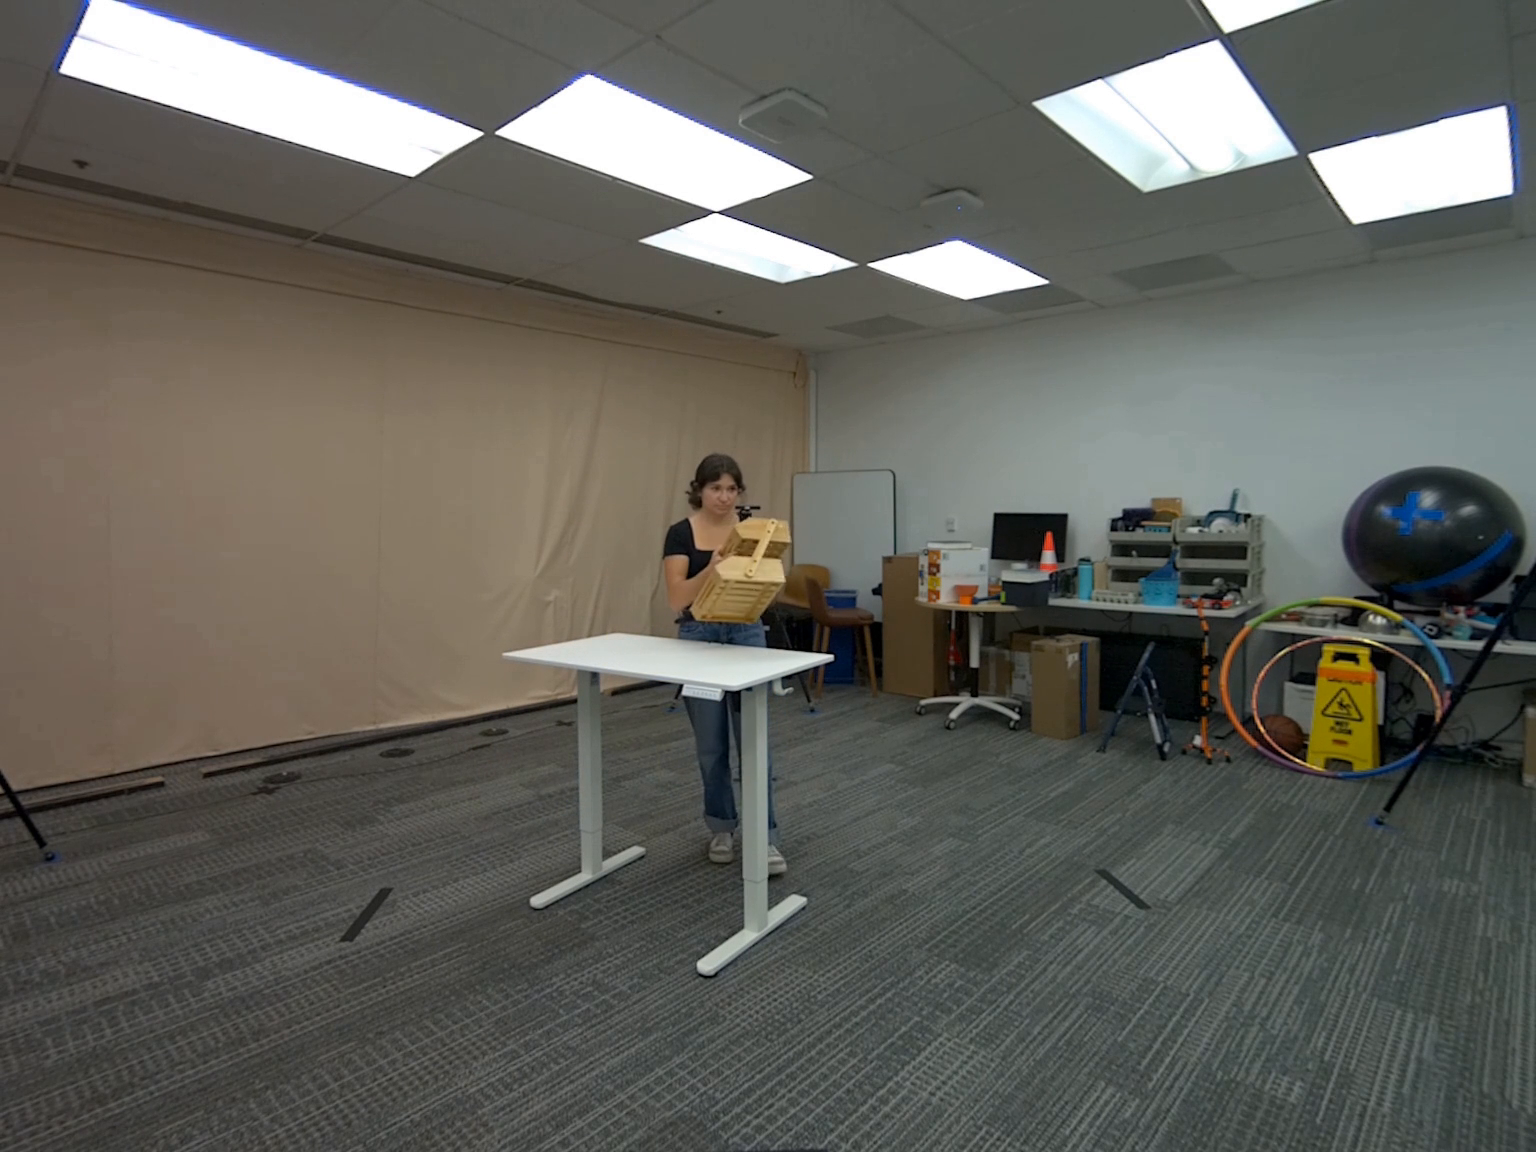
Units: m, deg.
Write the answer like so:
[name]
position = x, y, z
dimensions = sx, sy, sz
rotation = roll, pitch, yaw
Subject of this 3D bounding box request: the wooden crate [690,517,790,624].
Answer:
[wooden crate]
position = -0.116, -0.021, 3.036
dimensions = 0.296, 0.279, 0.325
rotation = 5, -33, -20
